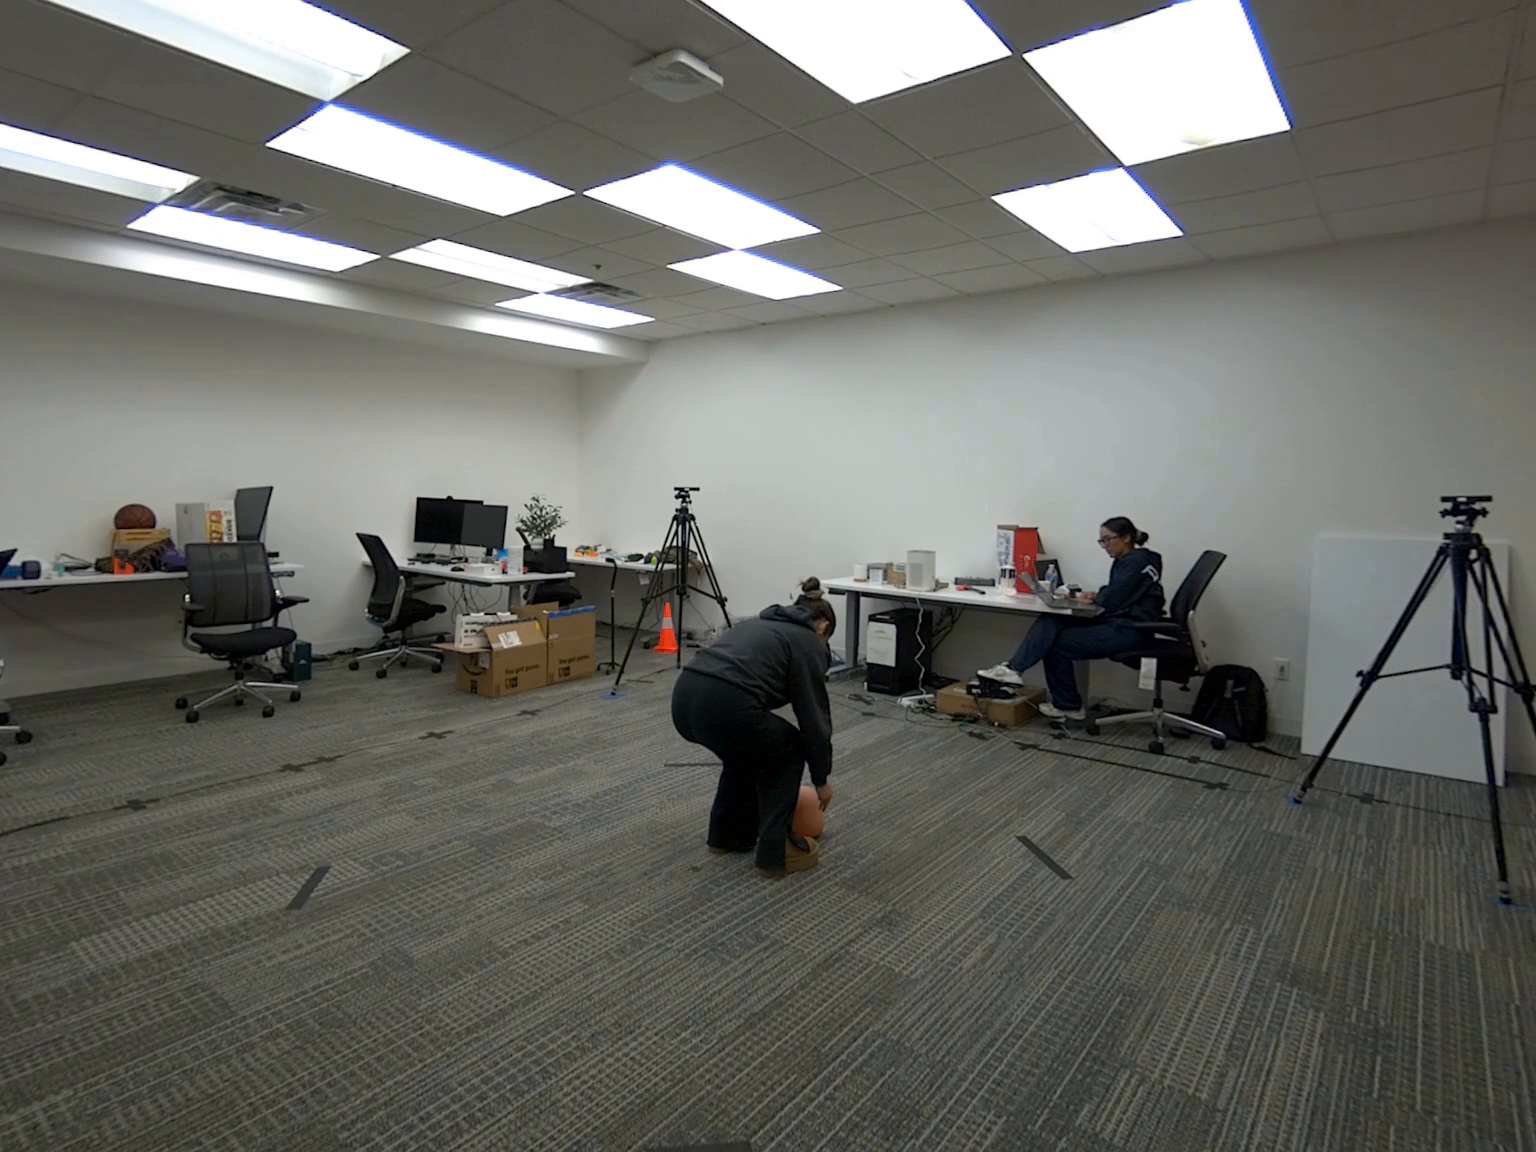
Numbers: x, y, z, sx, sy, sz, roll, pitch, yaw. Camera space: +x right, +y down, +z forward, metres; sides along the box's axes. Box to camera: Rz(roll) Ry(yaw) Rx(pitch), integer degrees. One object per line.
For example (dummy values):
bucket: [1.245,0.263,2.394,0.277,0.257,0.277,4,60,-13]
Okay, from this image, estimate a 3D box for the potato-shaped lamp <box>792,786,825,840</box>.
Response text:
potato-shaped lamp: [0.141,0.937,3.426,0.169,0.197,0.168,5,9,28]
